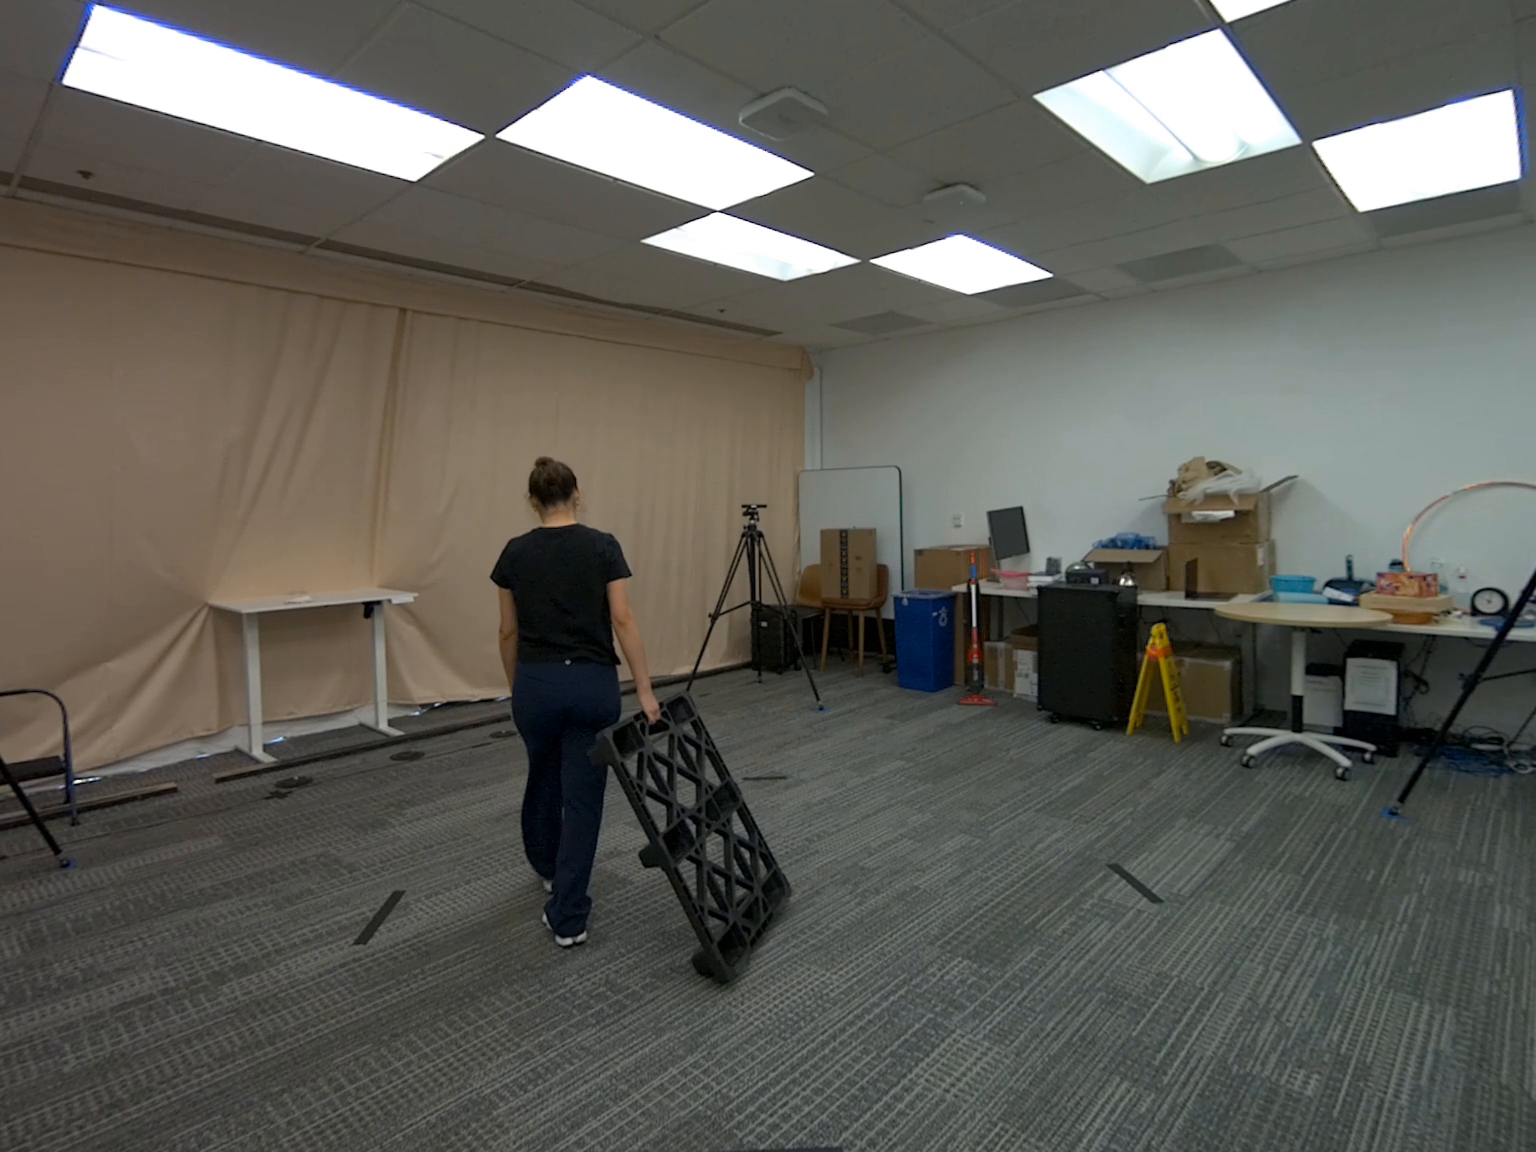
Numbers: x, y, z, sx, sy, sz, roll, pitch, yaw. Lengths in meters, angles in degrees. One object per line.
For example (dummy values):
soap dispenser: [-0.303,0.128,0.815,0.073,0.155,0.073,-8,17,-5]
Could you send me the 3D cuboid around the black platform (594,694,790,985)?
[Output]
black platform: [-0.238,0.814,2.749,0.145,0.812,0.593,-31,-7,18]
